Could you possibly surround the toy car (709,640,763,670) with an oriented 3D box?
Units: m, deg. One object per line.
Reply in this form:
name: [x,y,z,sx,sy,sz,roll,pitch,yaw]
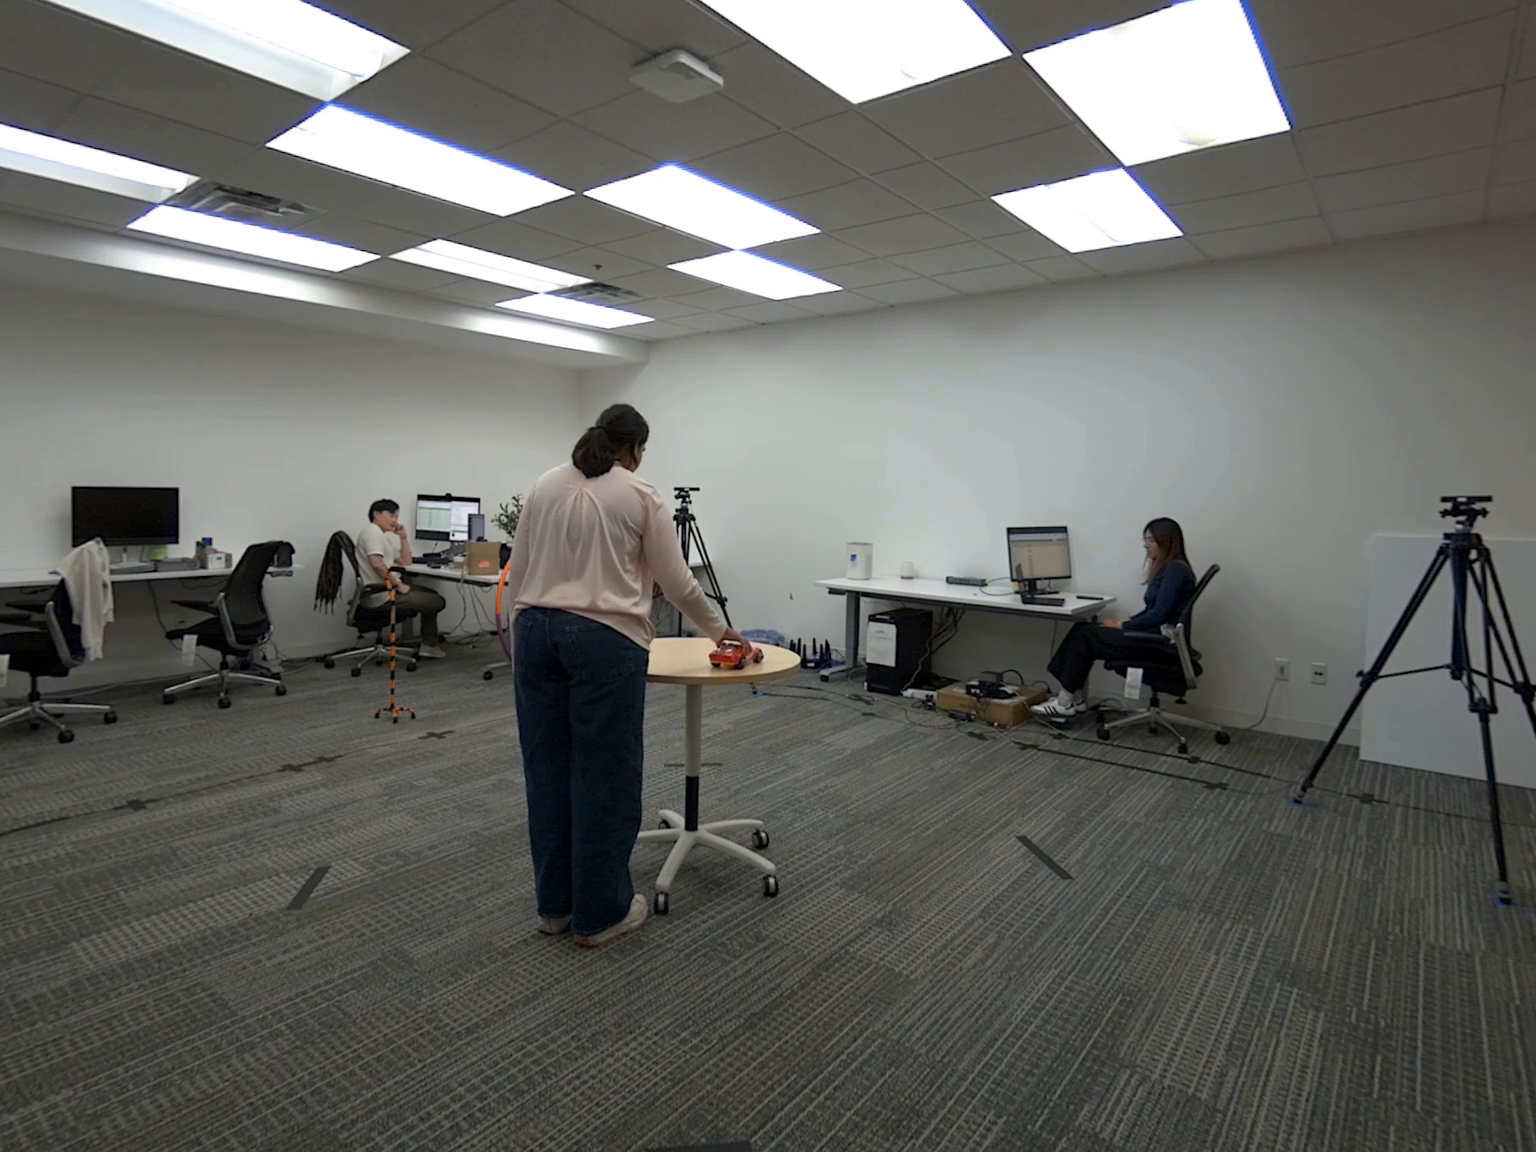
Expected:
toy car: [-0.126,0.272,2.914,0.134,0.083,0.247,4,-5,25]
